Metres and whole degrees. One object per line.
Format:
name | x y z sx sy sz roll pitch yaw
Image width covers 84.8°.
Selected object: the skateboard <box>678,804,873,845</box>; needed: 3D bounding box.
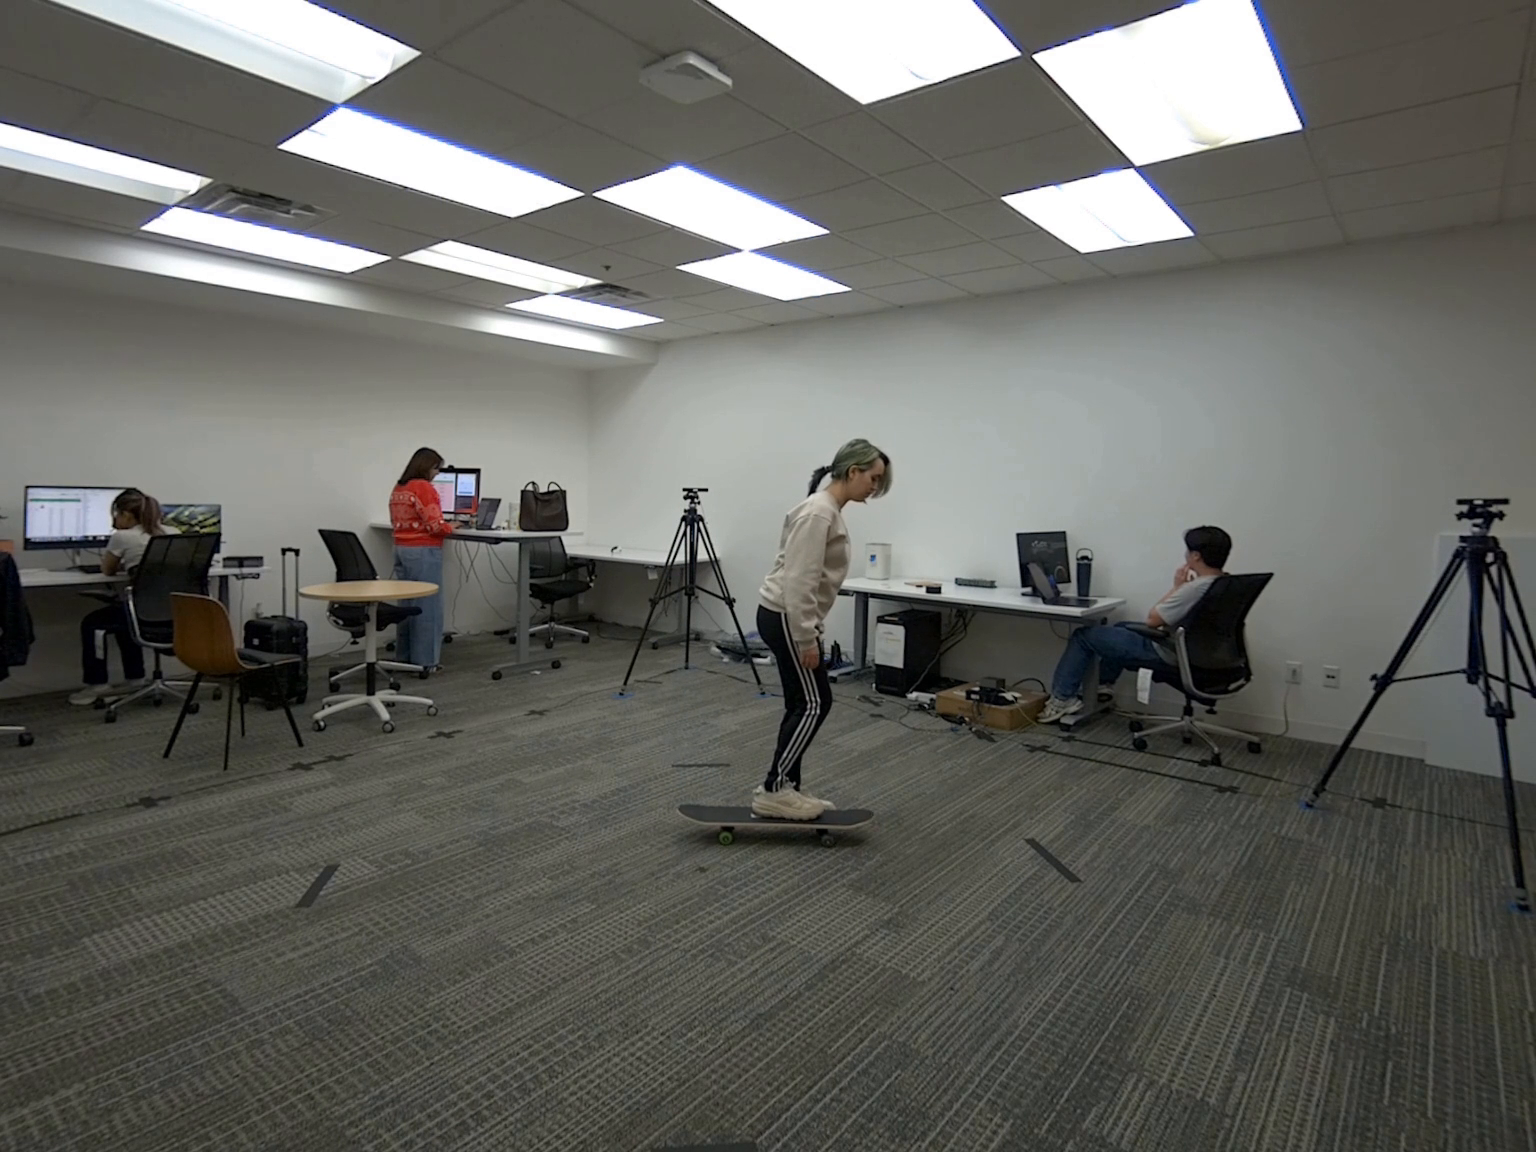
skateboard | 0.030 0.990 3.412 0.785 0.110 0.194 1 3 -1
